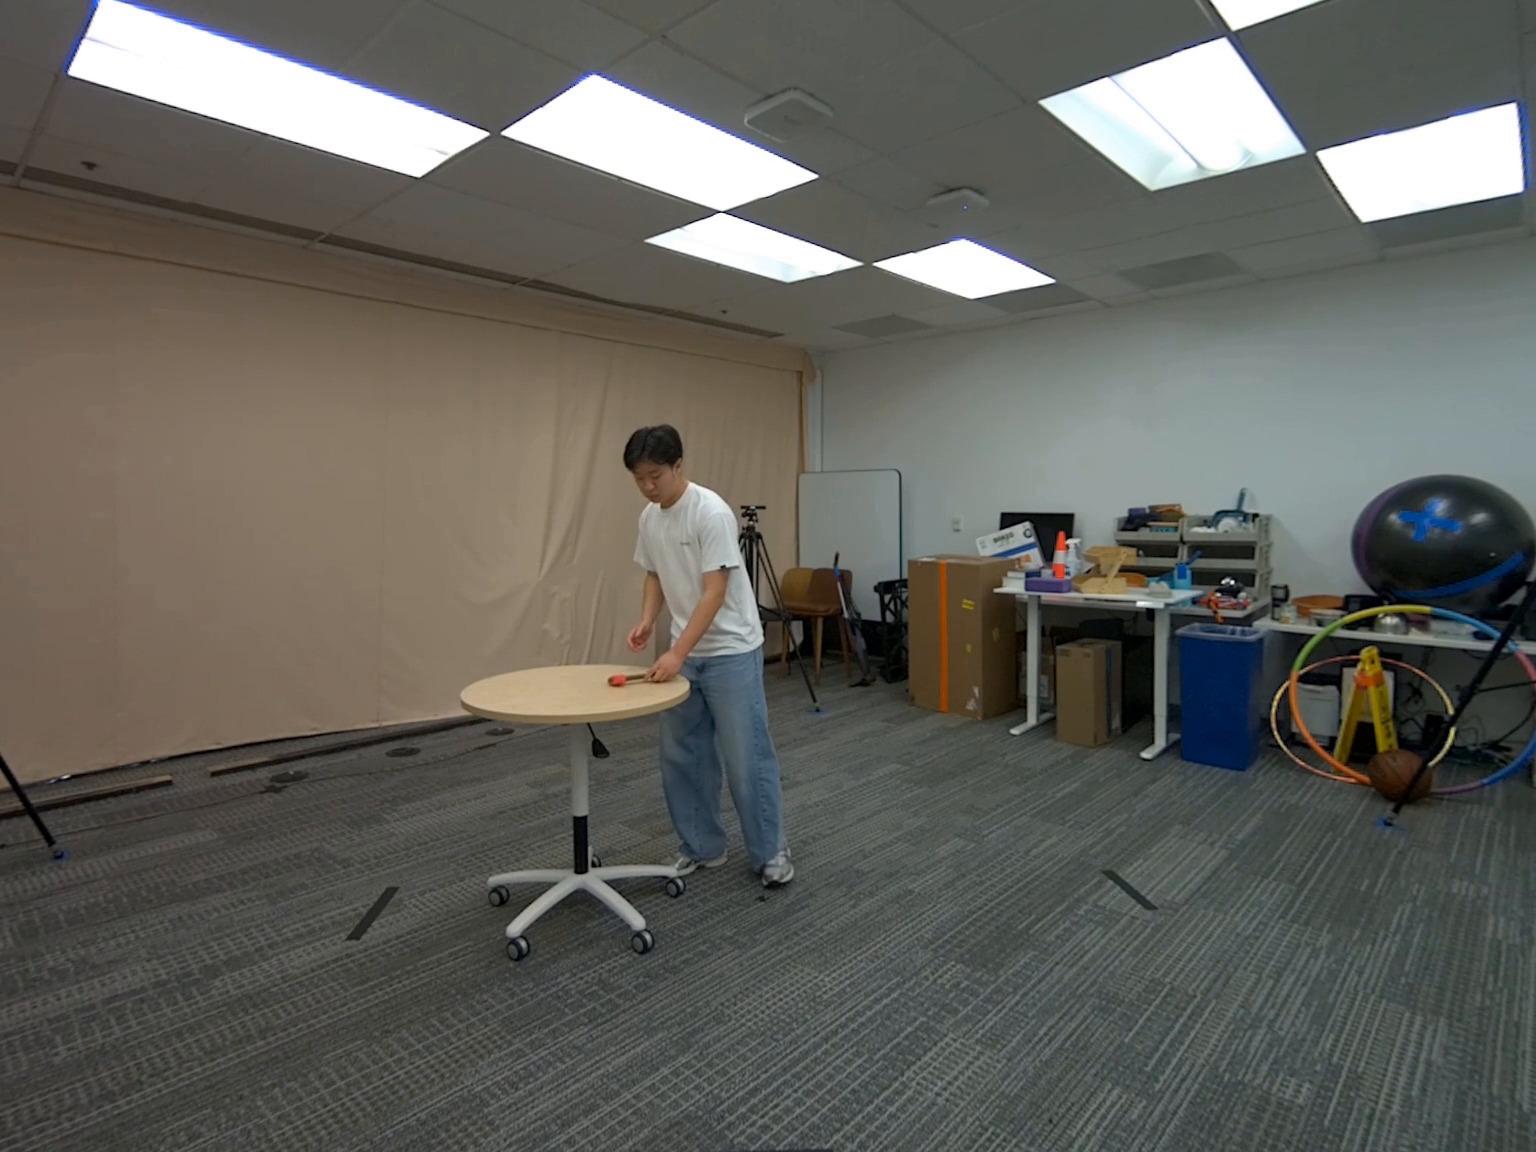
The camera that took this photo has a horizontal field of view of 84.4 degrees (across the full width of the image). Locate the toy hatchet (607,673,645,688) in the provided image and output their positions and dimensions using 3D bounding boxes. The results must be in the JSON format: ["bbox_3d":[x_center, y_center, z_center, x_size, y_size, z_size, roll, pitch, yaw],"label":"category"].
[{"bbox_3d":[-0.456,0.353,2.948,0.134,0.030,0.261,-13,-9,40],"label":"toy hatchet"}]
